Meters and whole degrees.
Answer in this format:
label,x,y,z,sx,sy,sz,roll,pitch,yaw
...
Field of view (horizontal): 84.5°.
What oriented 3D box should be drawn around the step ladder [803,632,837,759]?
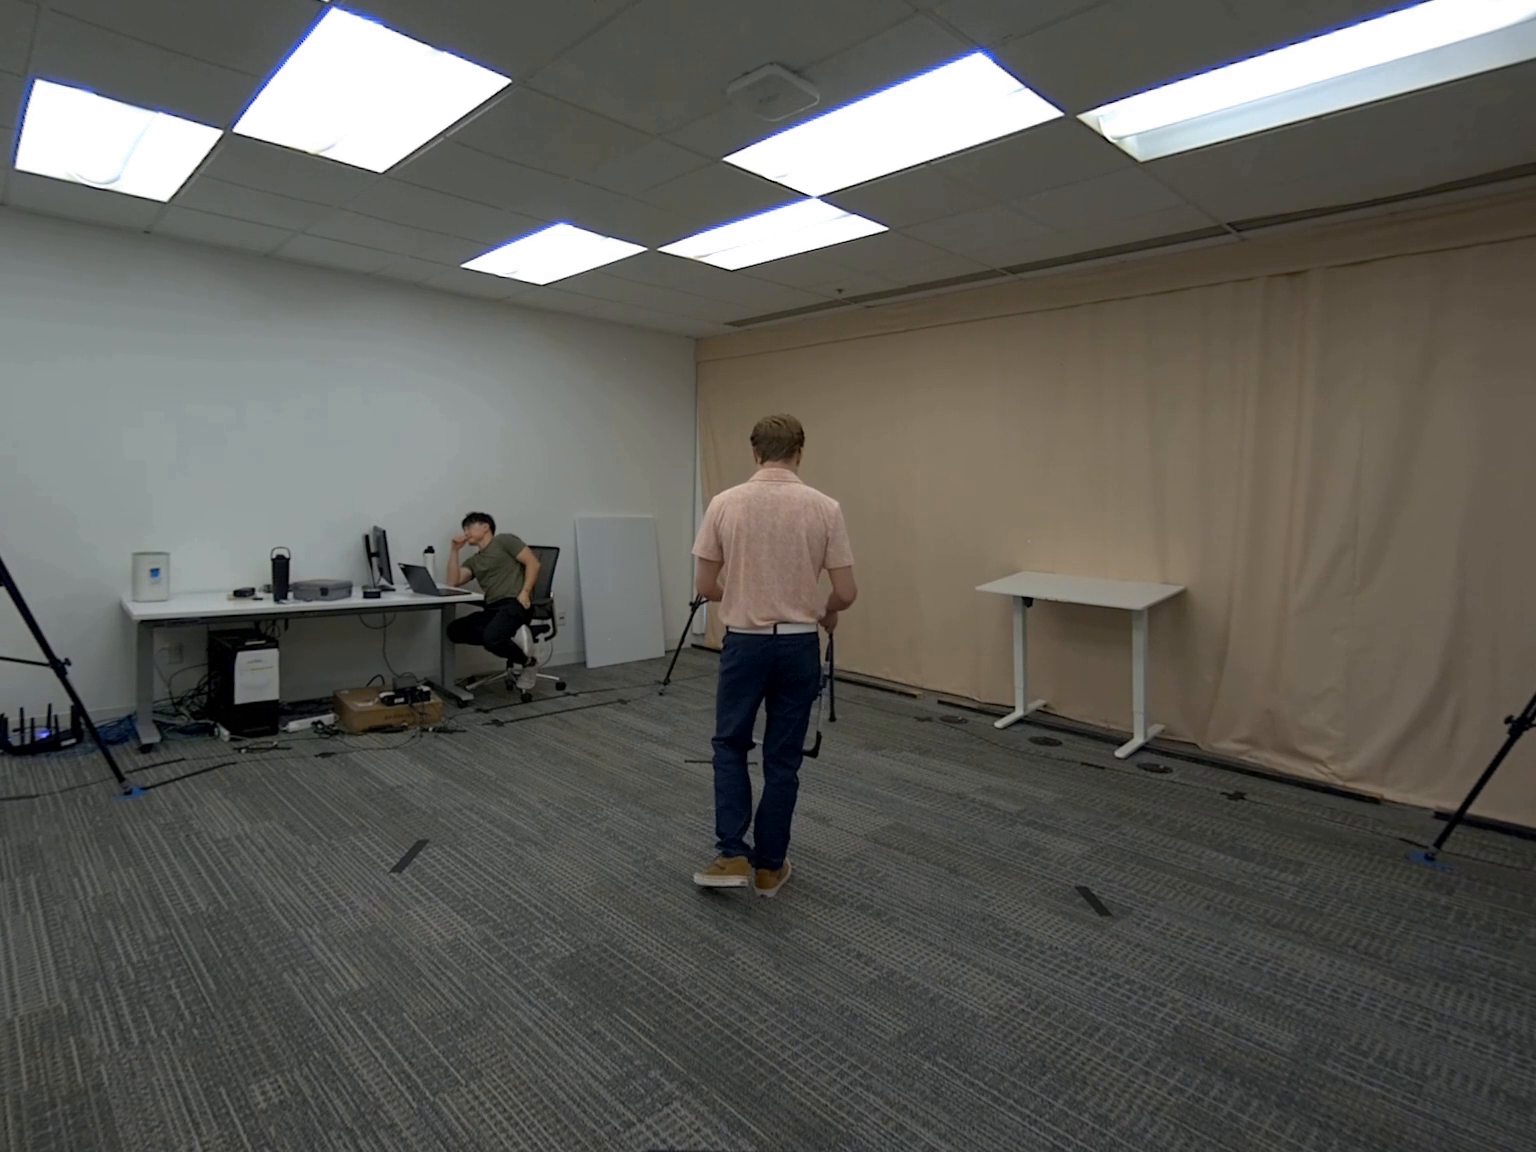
label,x,y,z,sx,sy,sz,roll,pitch,yaw
step ladder,0.047,0.343,3.314,0.437,0.598,0.348,8,19,16
